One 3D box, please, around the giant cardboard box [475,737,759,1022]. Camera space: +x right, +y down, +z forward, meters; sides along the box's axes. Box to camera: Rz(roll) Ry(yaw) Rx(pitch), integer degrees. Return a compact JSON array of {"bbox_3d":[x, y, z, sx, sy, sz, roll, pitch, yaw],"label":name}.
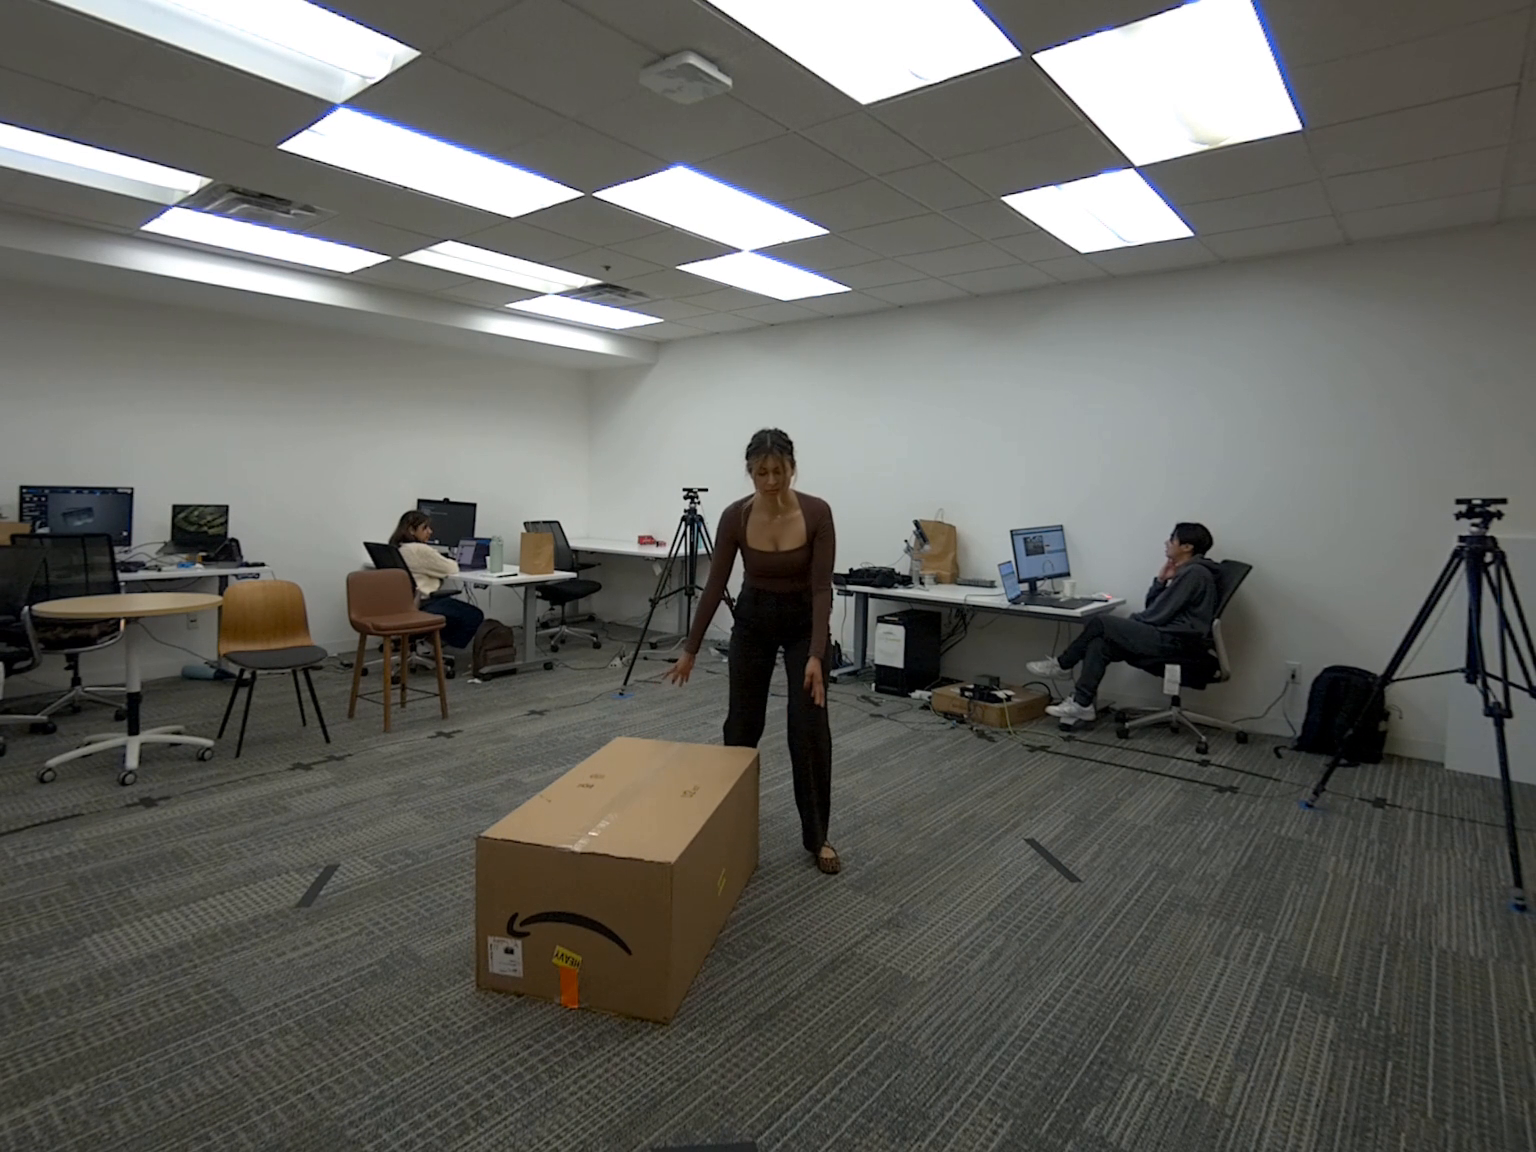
[{"bbox_3d":[-0.430,0.890,2.743,0.593,0.445,1.015,3,6,13],"label":"giant cardboard box"}]
